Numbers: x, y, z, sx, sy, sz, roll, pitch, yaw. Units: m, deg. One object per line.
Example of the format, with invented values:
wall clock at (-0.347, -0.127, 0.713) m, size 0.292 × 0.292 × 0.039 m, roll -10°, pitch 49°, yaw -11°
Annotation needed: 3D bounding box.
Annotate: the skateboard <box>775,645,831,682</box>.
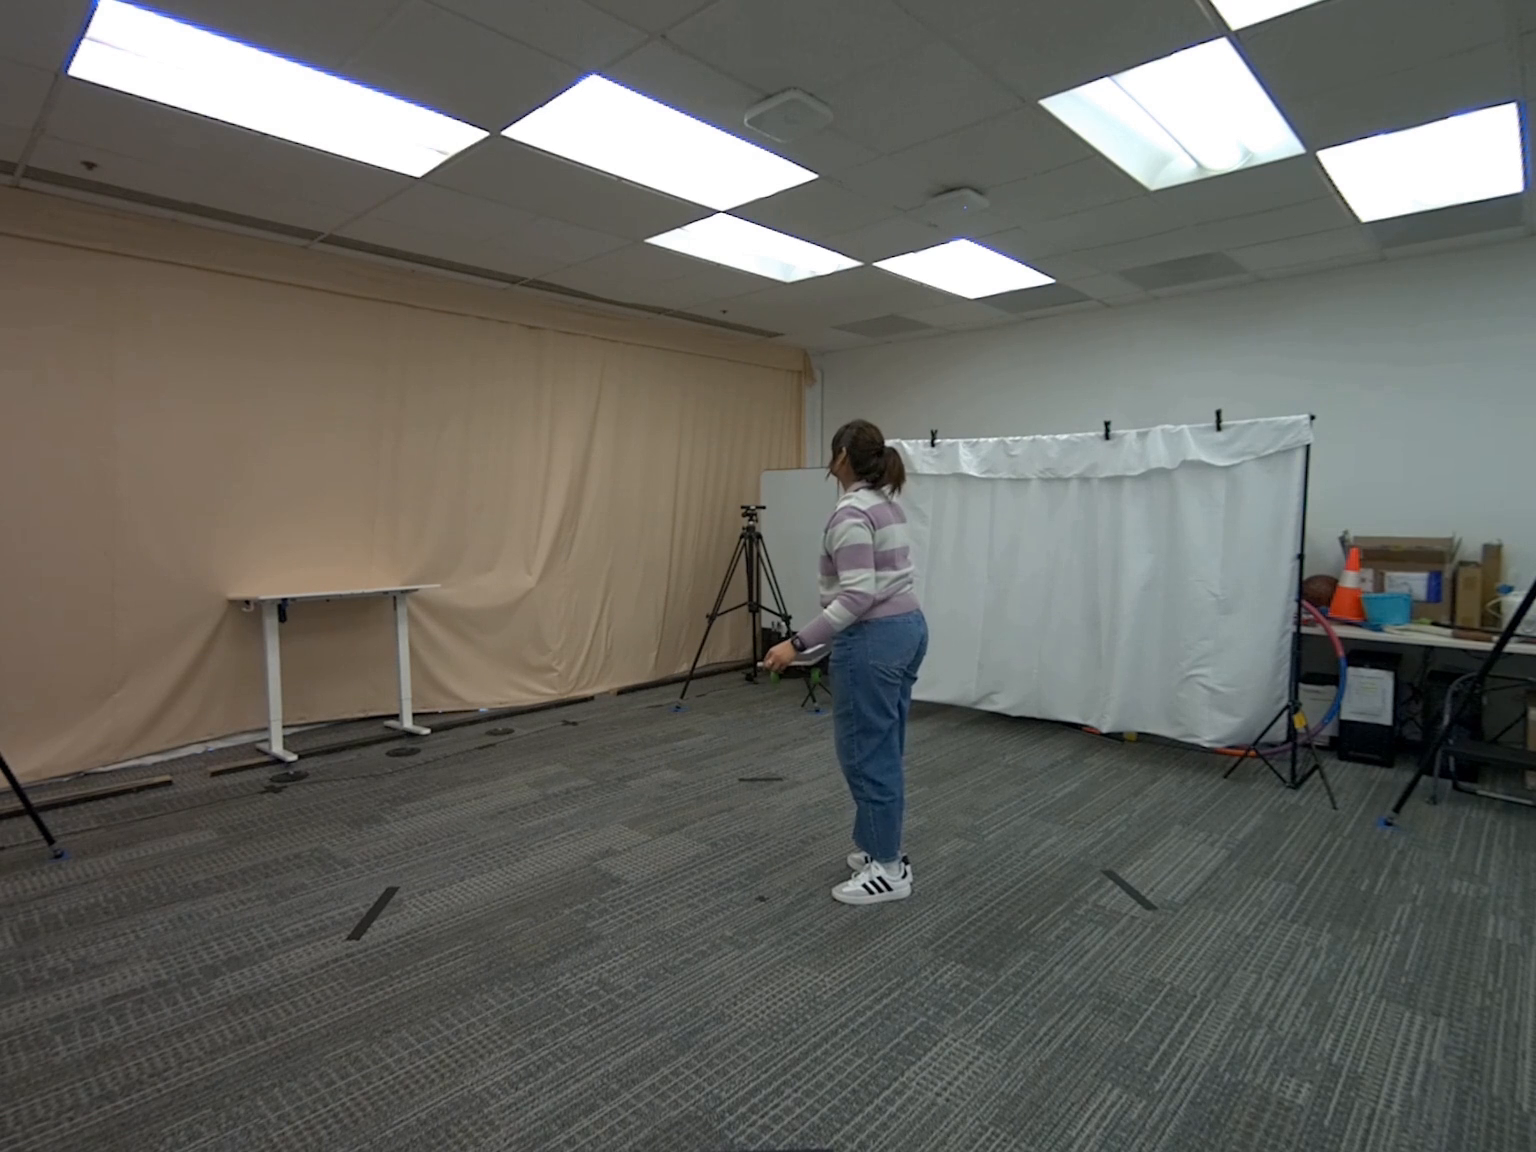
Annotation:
skateboard at (0.169, 0.317, 3.187) m, size 0.198 × 0.110 × 0.768 m, roll -6°, pitch 3°, yaw 24°
